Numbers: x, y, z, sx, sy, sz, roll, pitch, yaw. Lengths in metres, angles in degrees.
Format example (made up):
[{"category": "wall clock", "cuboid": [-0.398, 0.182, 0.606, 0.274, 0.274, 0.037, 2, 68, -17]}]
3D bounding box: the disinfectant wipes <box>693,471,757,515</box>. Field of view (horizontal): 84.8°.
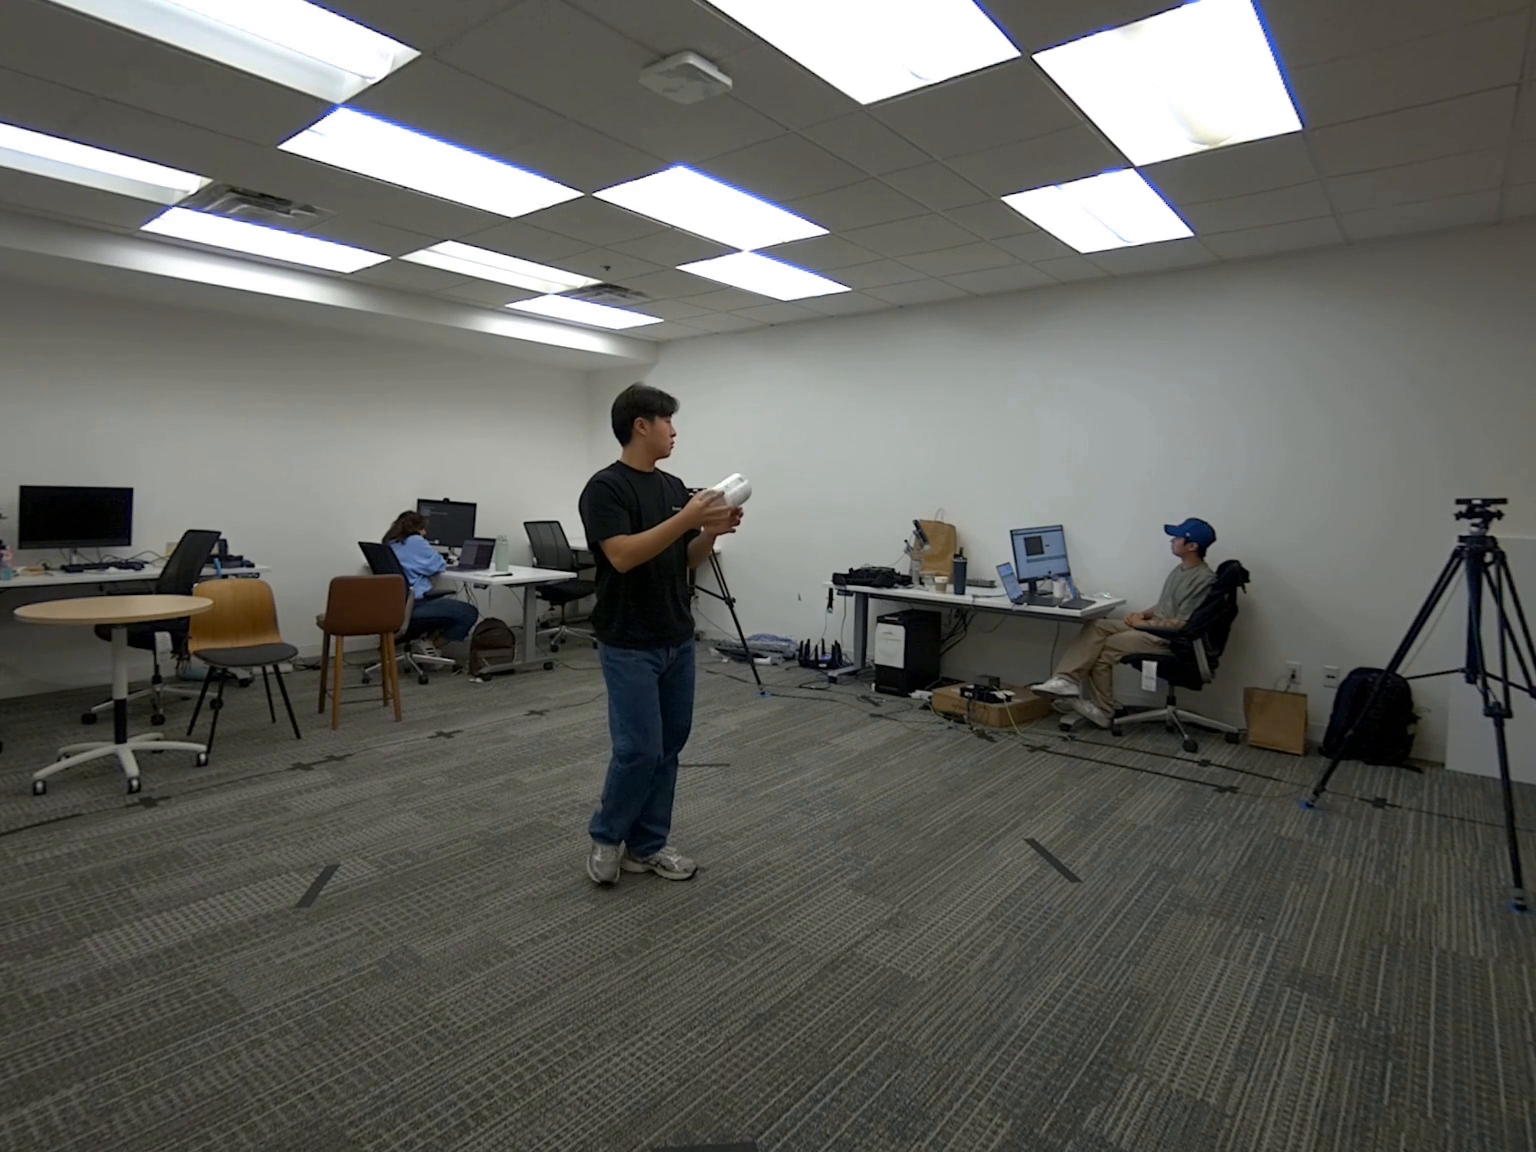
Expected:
[{"category": "disinfectant wipes", "cuboid": [-0.145, -0.270, 2.854, 0.121, 0.115, 0.216, 2, 22, 25]}]
